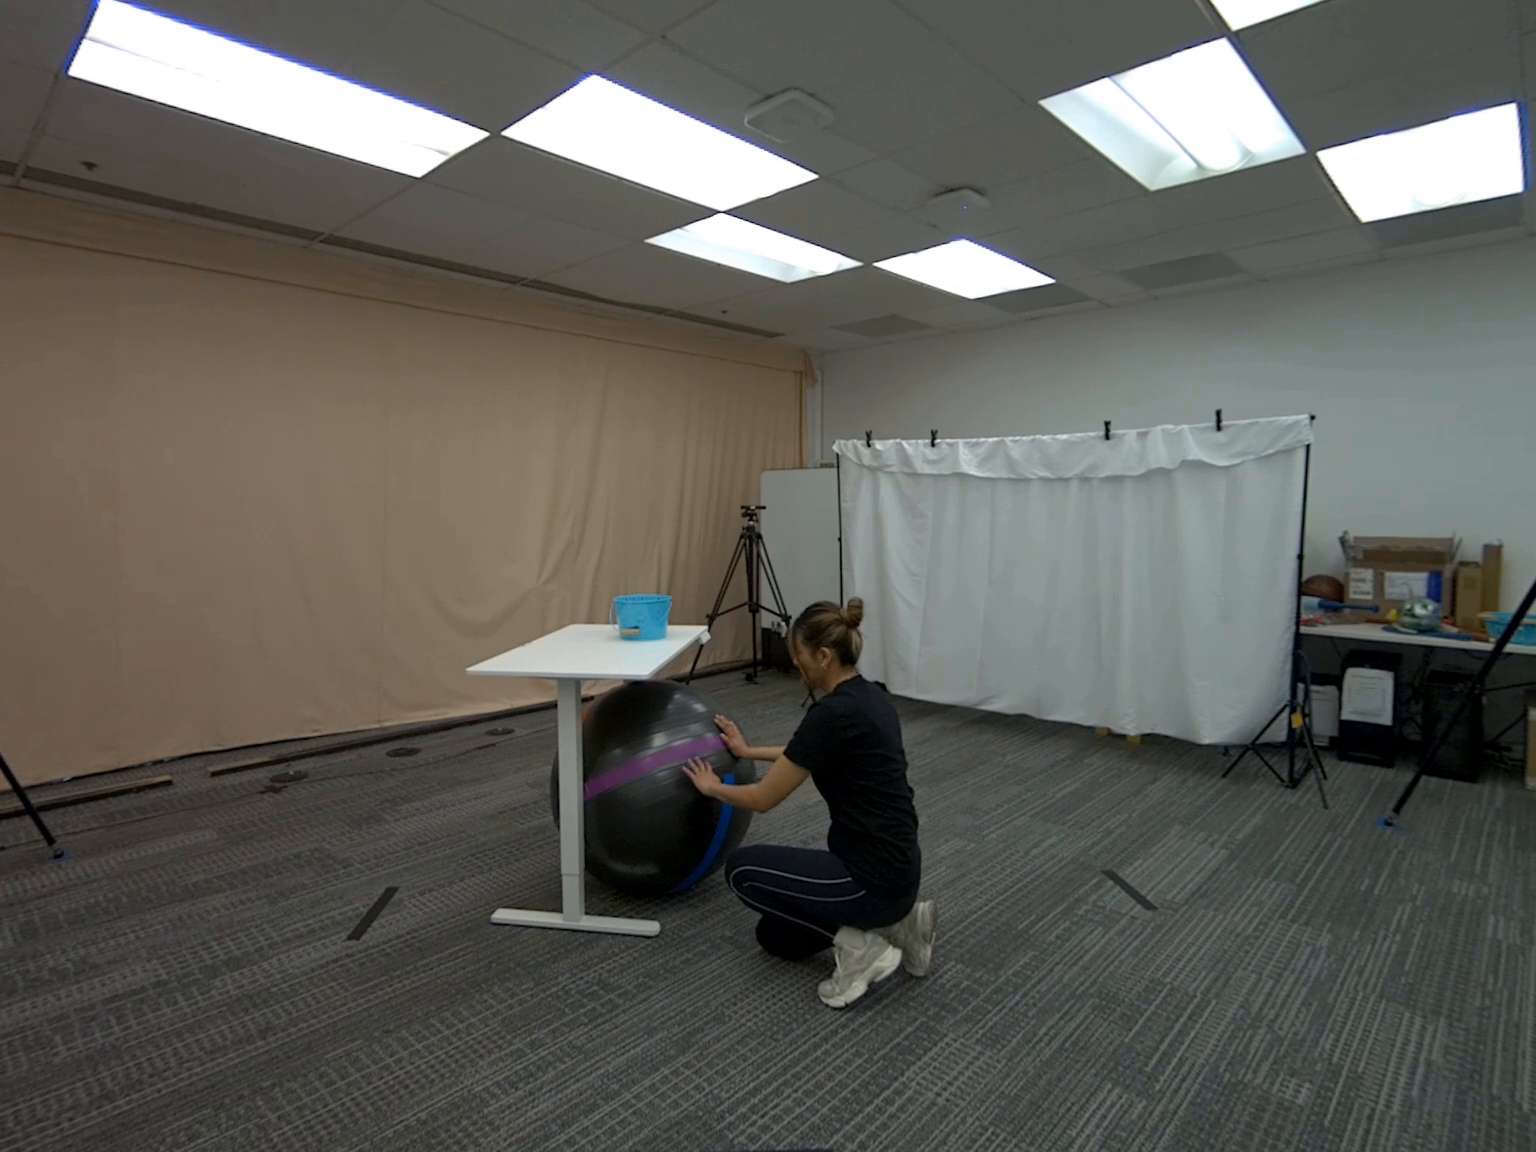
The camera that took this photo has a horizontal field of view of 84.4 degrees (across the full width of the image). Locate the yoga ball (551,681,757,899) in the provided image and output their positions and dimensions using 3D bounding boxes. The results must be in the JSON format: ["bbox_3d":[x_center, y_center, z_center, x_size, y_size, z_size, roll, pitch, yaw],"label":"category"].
[{"bbox_3d":[-0.427,0.786,3.106,0.757,0.756,0.761,0,4,-2],"label":"yoga ball"}]
